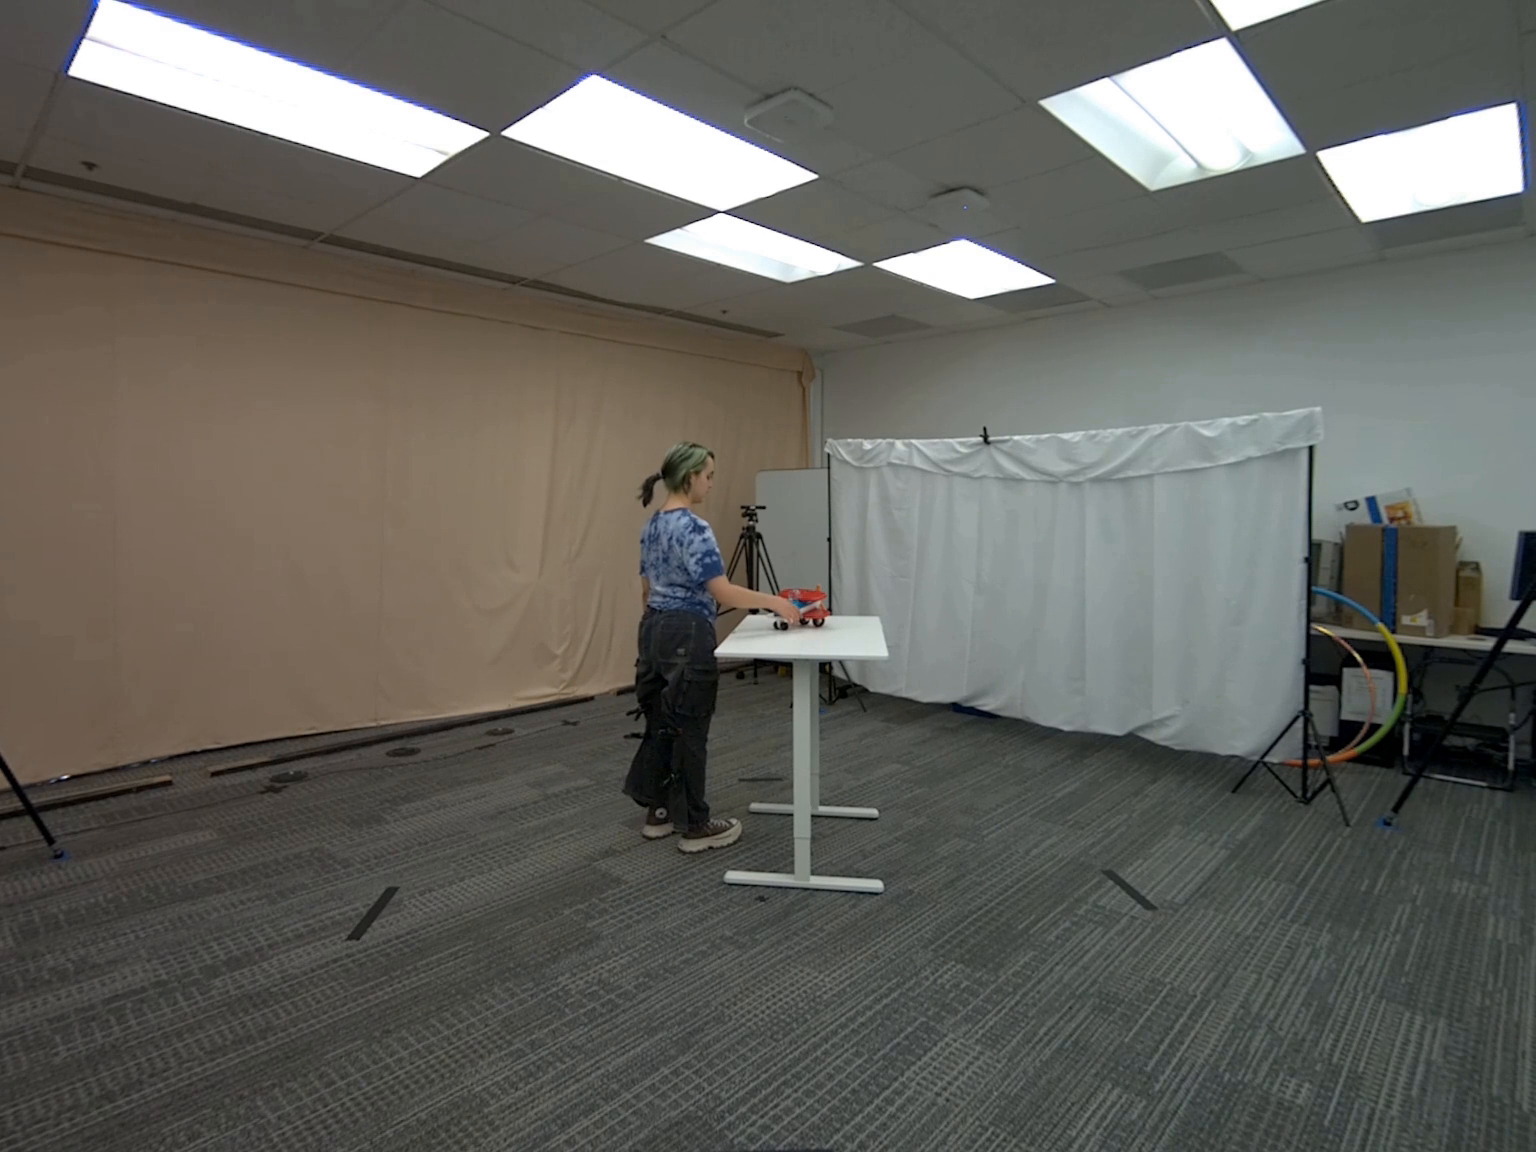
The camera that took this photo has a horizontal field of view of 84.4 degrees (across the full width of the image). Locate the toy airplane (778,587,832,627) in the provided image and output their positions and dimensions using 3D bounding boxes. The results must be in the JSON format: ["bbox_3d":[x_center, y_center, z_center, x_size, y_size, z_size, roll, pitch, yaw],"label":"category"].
[{"bbox_3d":[0.137,0.141,3.509,0.256,0.156,0.254,1,4,20],"label":"toy airplane"}]
